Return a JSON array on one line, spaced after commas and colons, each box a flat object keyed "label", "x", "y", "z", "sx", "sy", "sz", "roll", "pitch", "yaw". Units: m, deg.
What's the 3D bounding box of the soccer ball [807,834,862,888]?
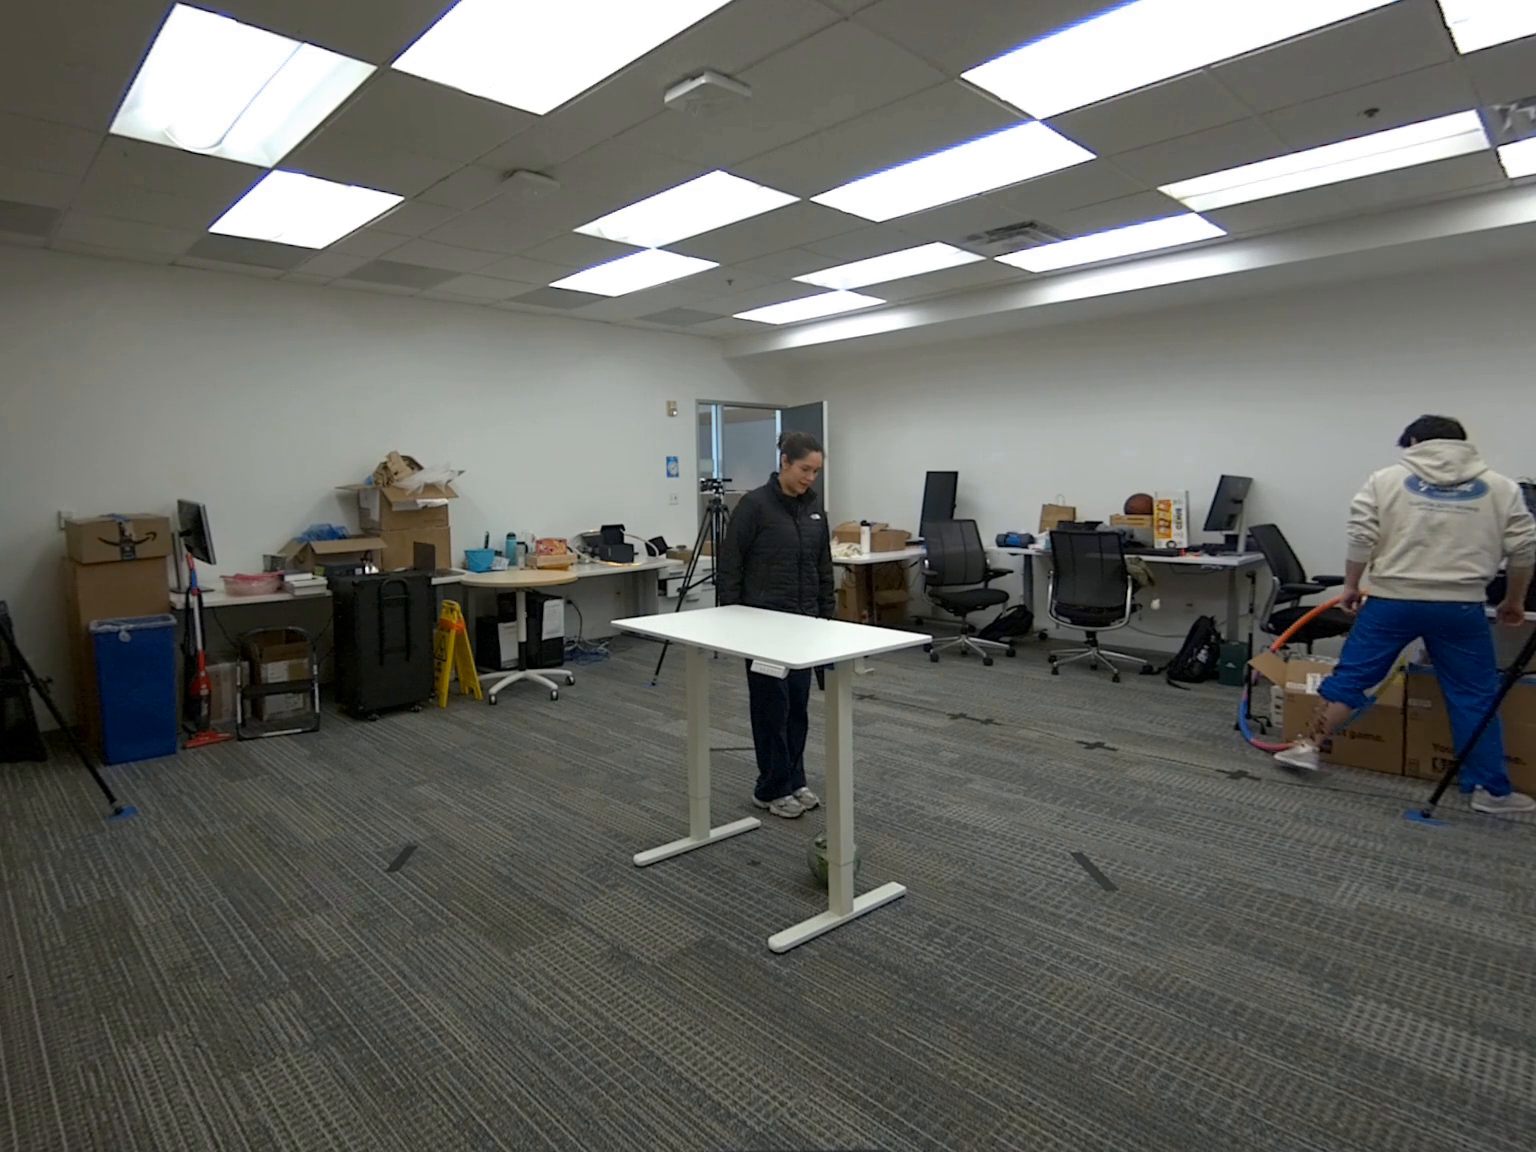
[{"label": "soccer ball", "x": 0.230, "y": 0.972, "z": 2.936, "sx": 0.187, "sy": 0.187, "sz": 0.188, "roll": -1, "pitch": 5, "yaw": -2}]
